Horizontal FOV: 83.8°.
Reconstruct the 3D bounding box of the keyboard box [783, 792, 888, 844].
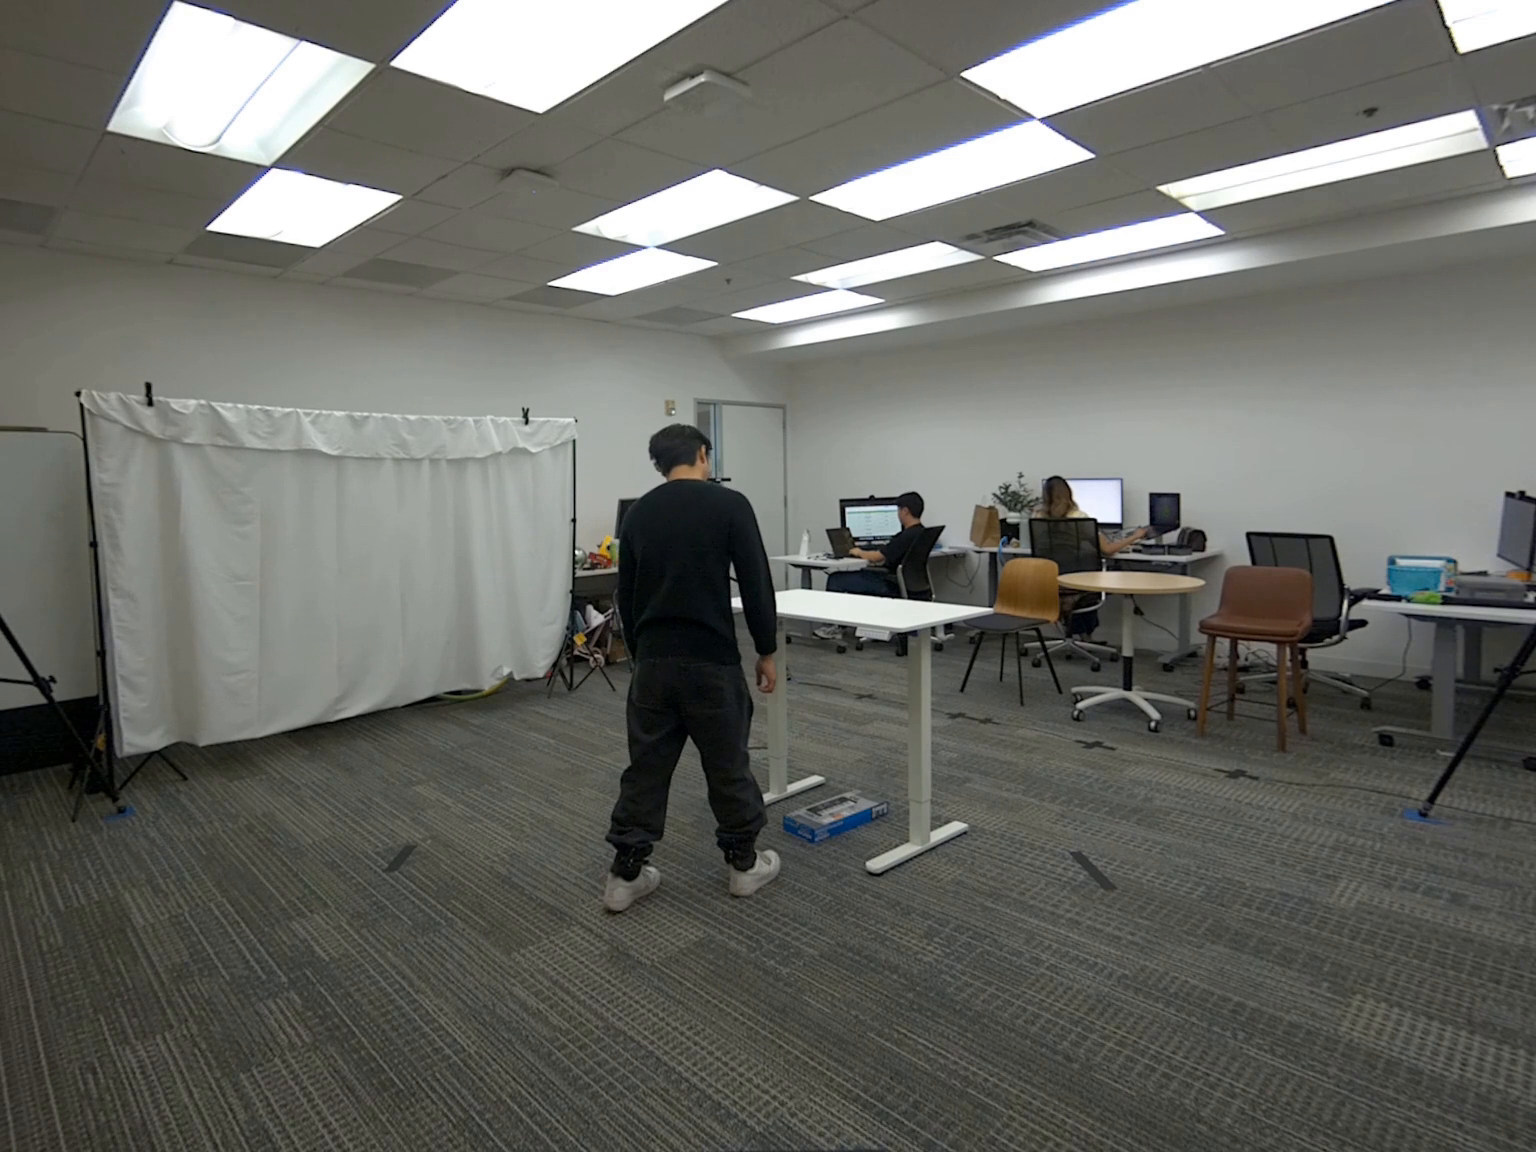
[{"bbox_3d":[0.281,0.967,3.460,0.426,0.059,0.181,-7,9,-40],"label":"keyboard box"}]
